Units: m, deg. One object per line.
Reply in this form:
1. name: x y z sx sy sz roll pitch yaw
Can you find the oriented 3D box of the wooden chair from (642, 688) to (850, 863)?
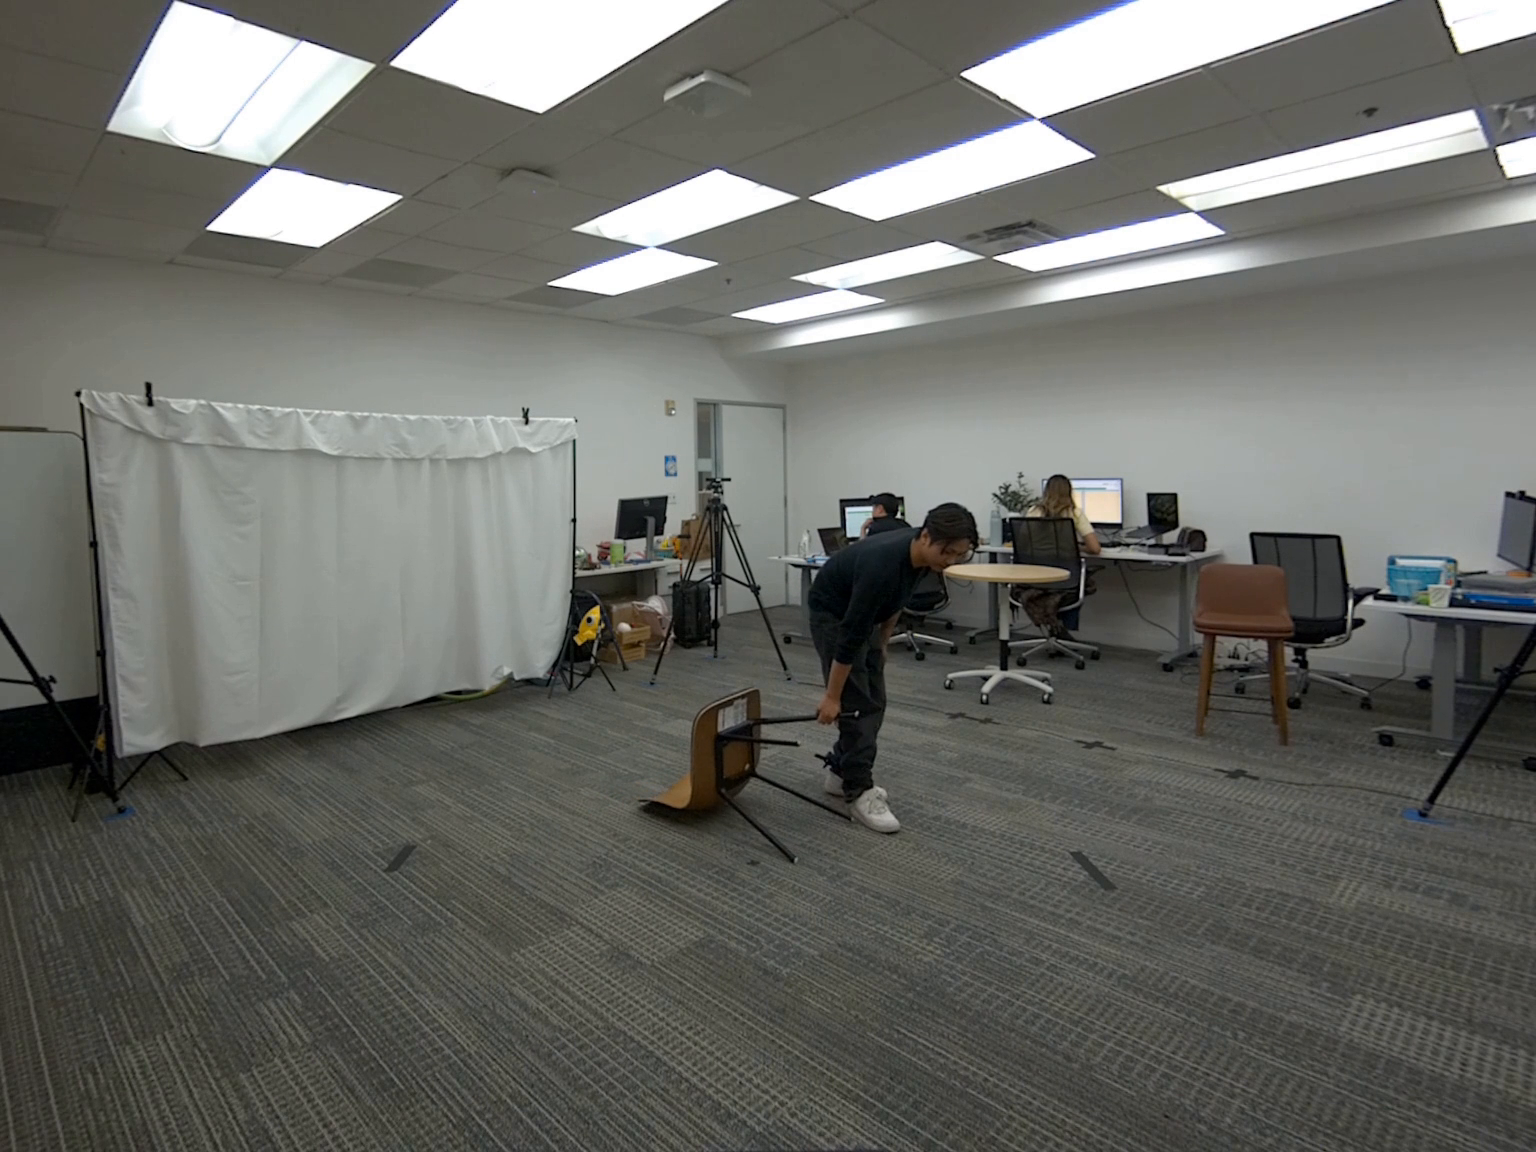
1. wooden chair: -0.131 0.740 3.494 0.902 0.521 0.467 1 7 36
